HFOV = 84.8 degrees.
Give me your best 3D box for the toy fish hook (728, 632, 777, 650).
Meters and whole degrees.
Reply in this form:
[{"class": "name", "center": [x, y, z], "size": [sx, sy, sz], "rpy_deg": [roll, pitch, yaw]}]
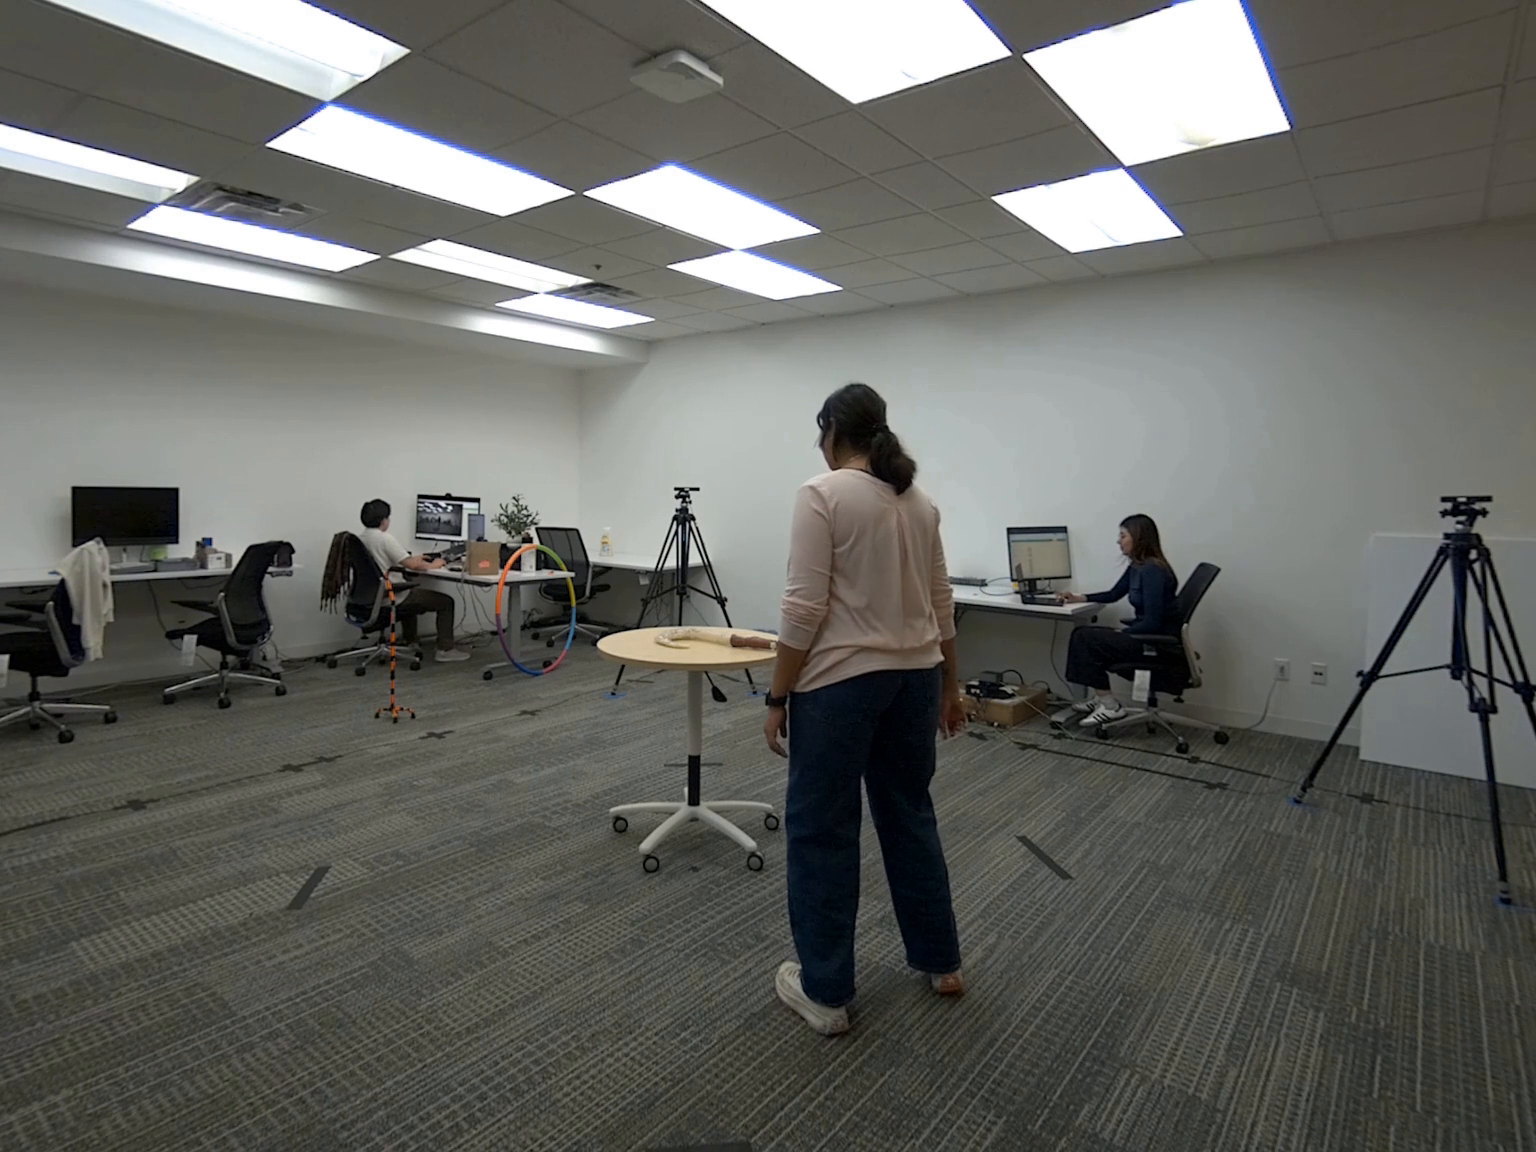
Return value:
[{"class": "toy fish hook", "center": [-0.222, 0.255, 3.266], "size": [0.521, 0.048, 0.221], "rpy_deg": [3, 15, 30]}]
